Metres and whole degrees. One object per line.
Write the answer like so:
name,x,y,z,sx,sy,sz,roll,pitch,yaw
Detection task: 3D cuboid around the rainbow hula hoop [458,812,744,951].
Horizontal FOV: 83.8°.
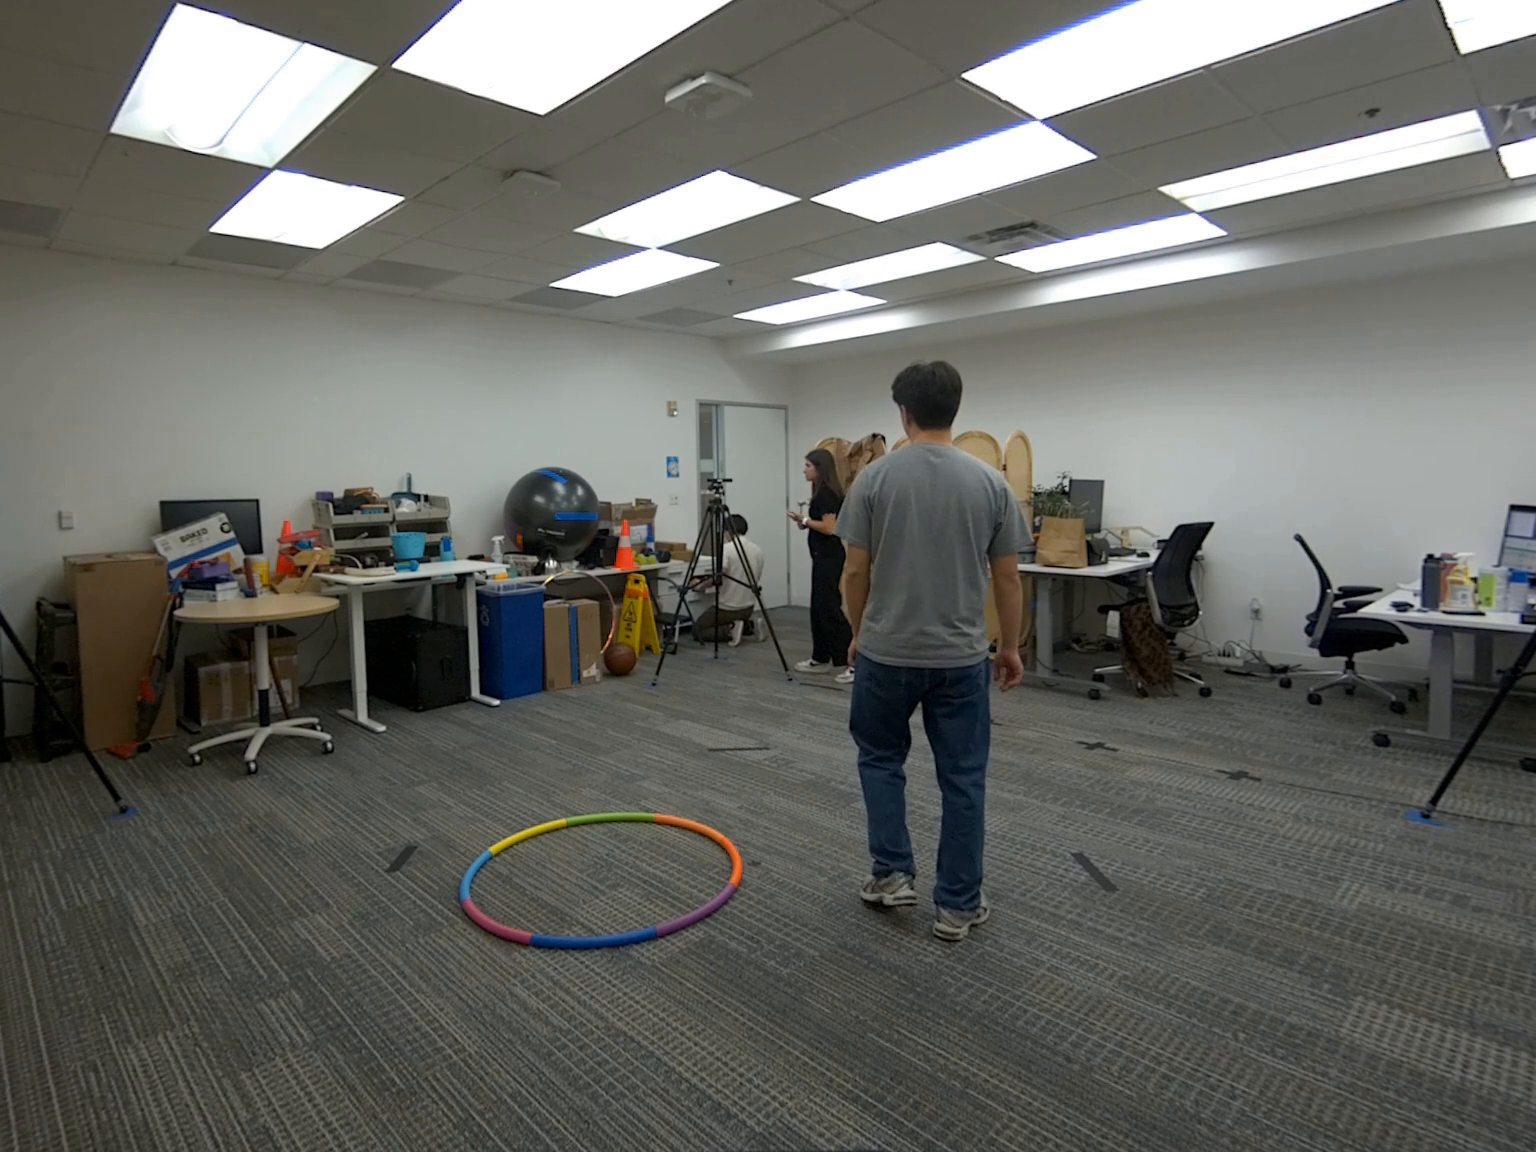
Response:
rainbow hula hoop,-0.578,1.029,3.038,0.978,0.035,0.984,-1,7,-2
